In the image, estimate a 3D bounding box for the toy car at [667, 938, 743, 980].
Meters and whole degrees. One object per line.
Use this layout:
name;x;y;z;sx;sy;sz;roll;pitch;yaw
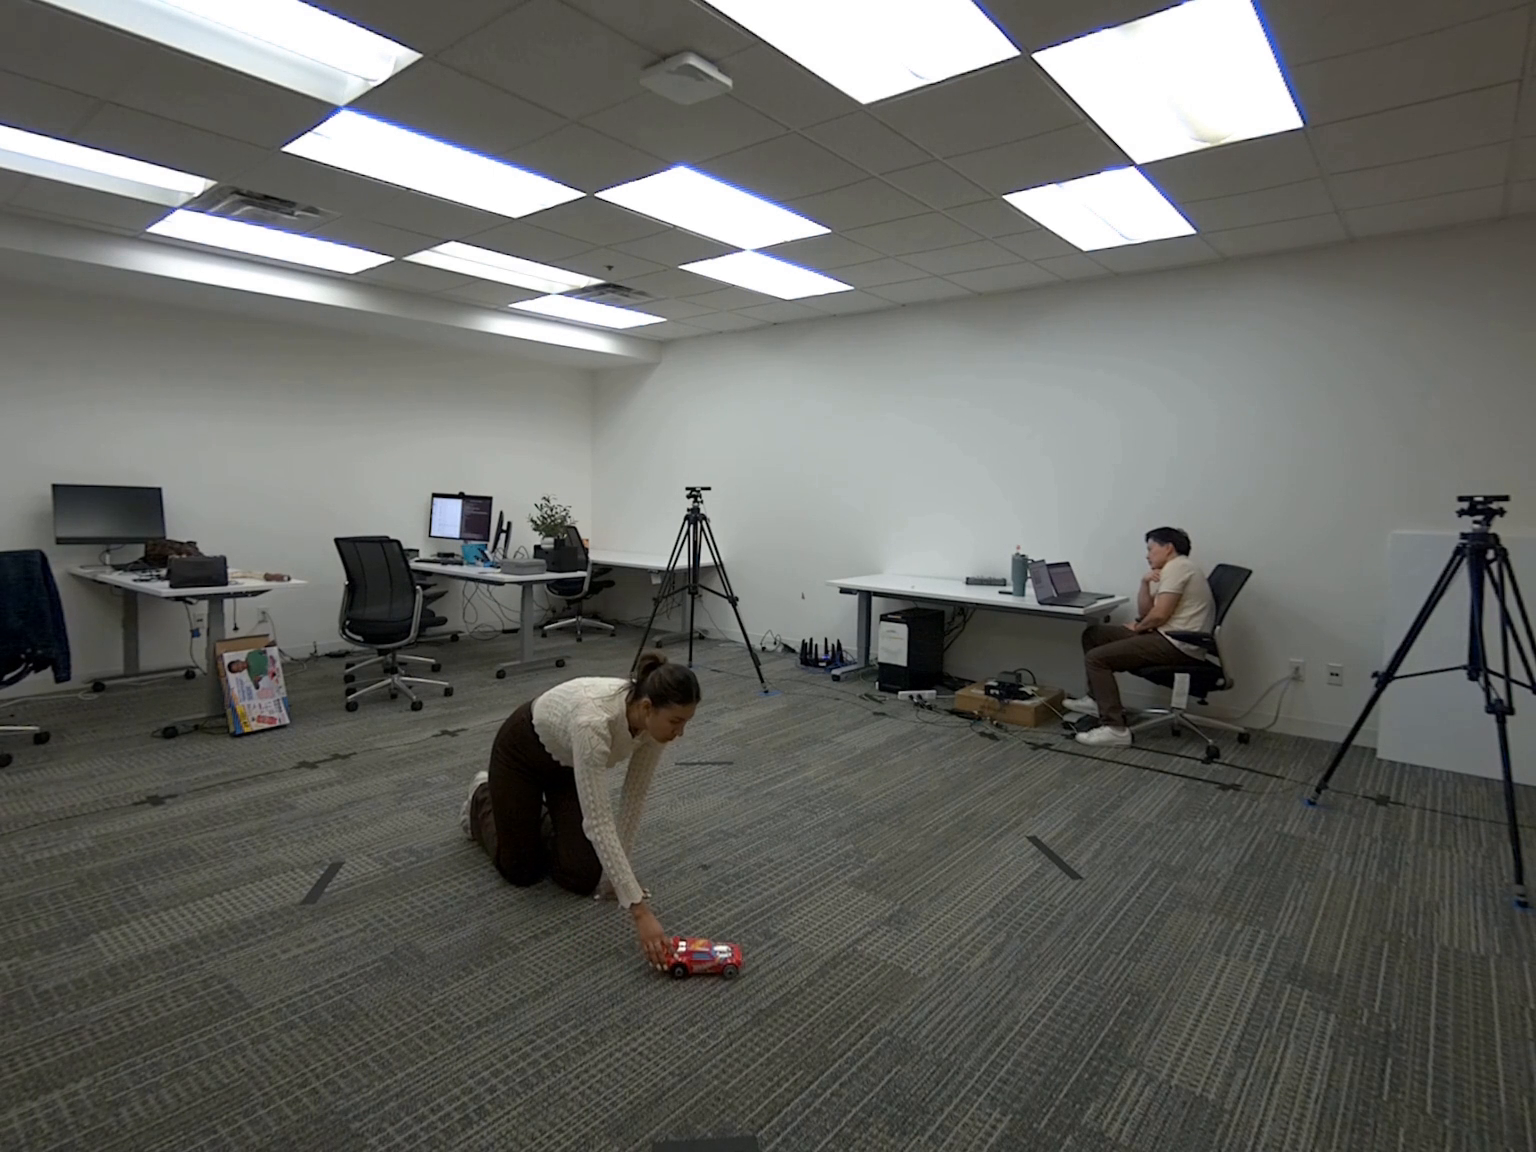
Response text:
toy car;-0.216;1.104;2.447;0.254;0.083;0.131;11;4;-3
